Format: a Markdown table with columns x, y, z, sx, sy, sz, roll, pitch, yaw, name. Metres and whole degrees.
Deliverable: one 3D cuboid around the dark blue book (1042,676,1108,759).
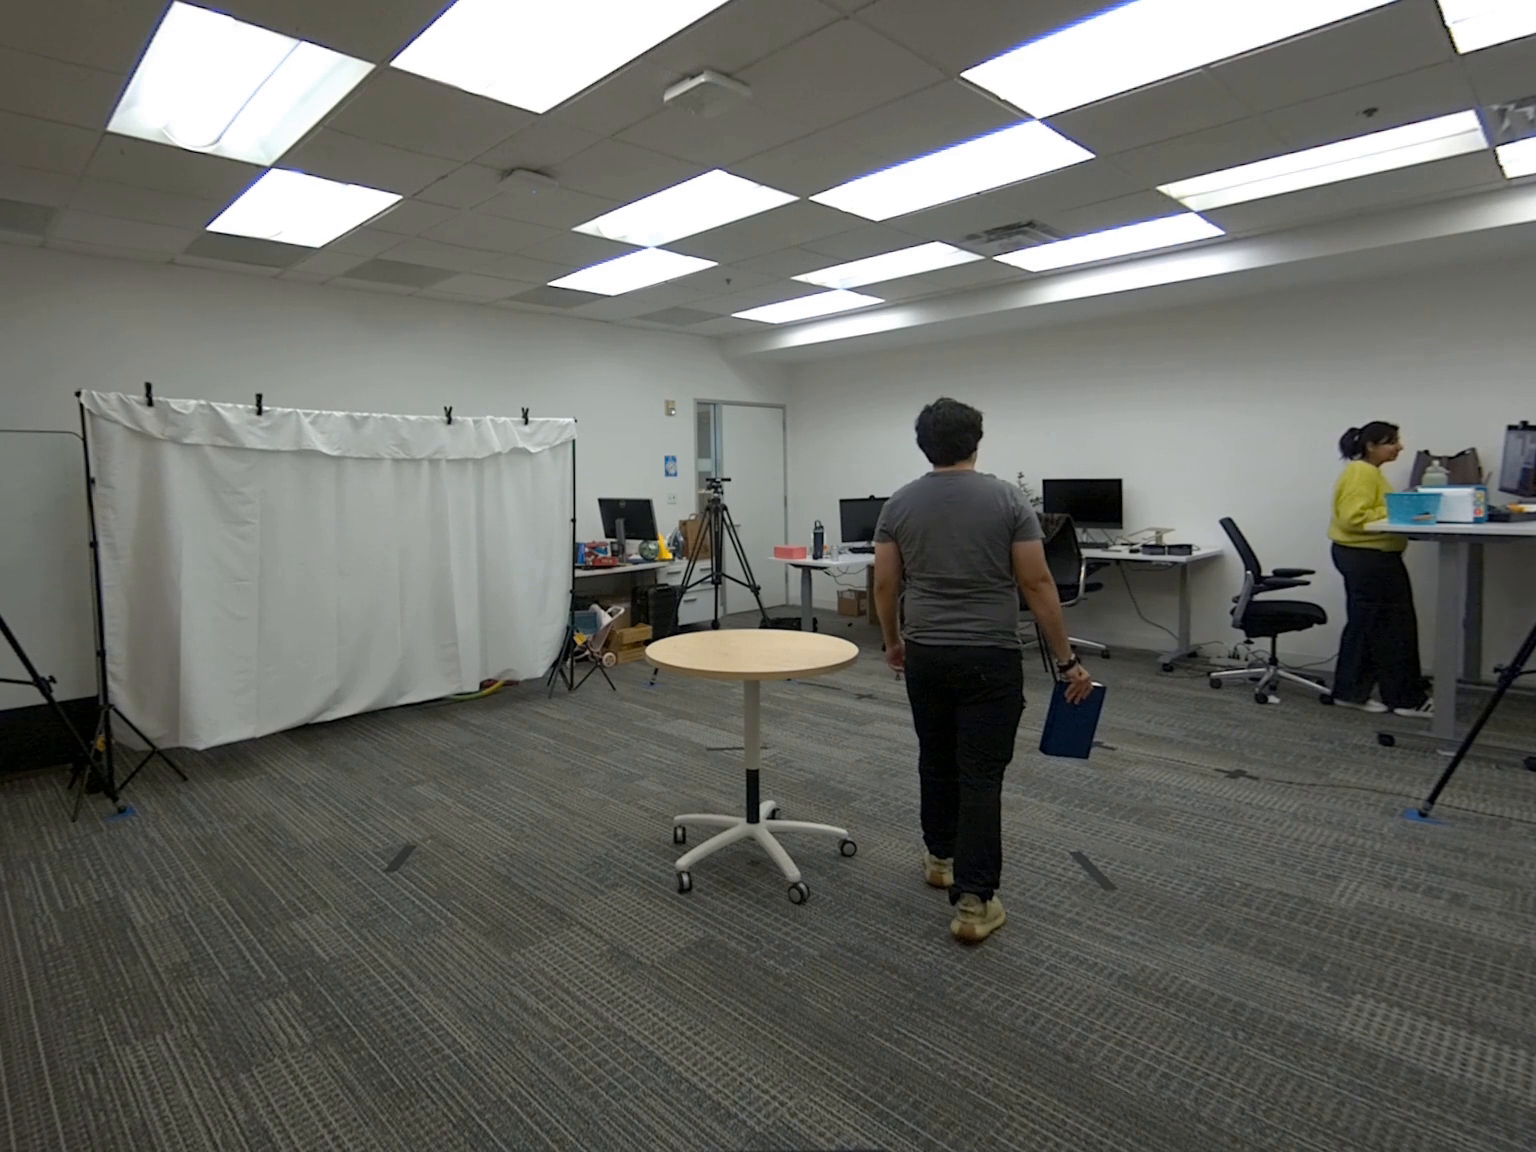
| x | y | z | sx | sy | sz | roll | pitch | yaw | name |
| --- | --- | --- | --- | --- | --- | --- | --- | --- | --- |
| 0.967 | 0.445 | 2.702 | 0.160 | 0.244 | 0.046 | 6 | 5 | -19 | dark blue book |
